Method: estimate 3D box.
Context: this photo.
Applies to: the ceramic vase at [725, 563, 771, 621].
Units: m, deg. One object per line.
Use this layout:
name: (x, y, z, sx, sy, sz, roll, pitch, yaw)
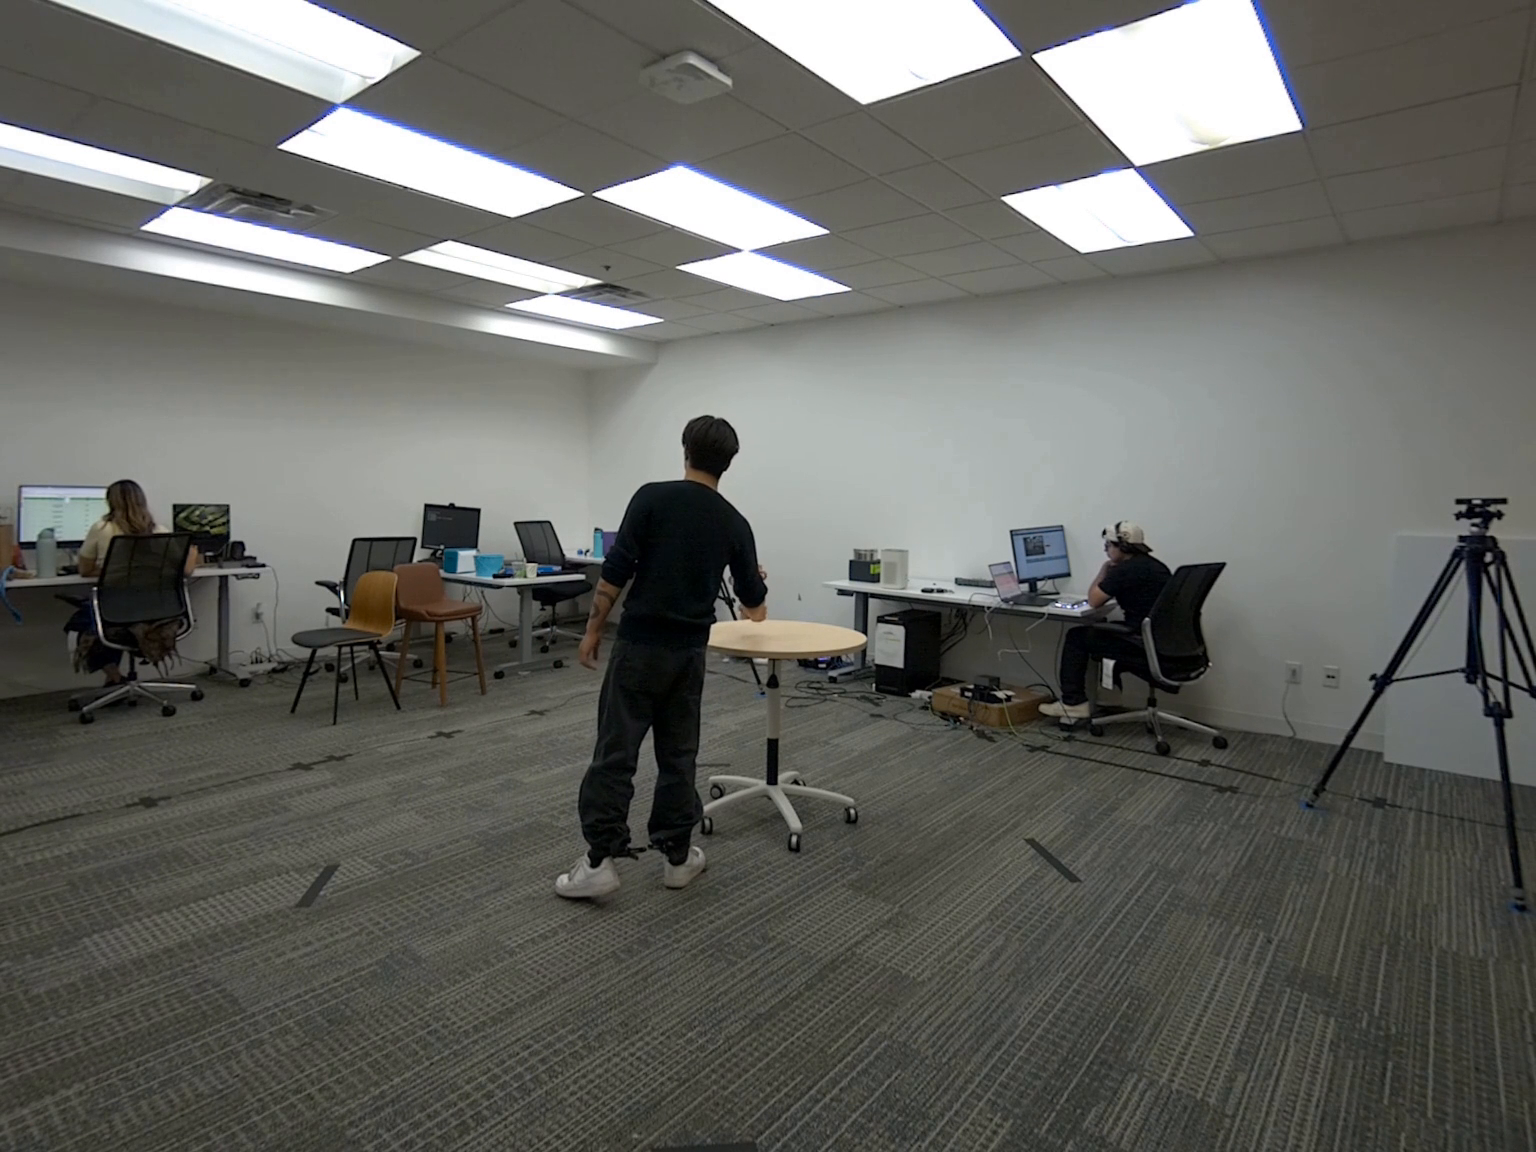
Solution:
ceramic vase: (-0.089, 0.067, 3.563, 0.133, 0.221, 0.160, -4, -6, -15)
